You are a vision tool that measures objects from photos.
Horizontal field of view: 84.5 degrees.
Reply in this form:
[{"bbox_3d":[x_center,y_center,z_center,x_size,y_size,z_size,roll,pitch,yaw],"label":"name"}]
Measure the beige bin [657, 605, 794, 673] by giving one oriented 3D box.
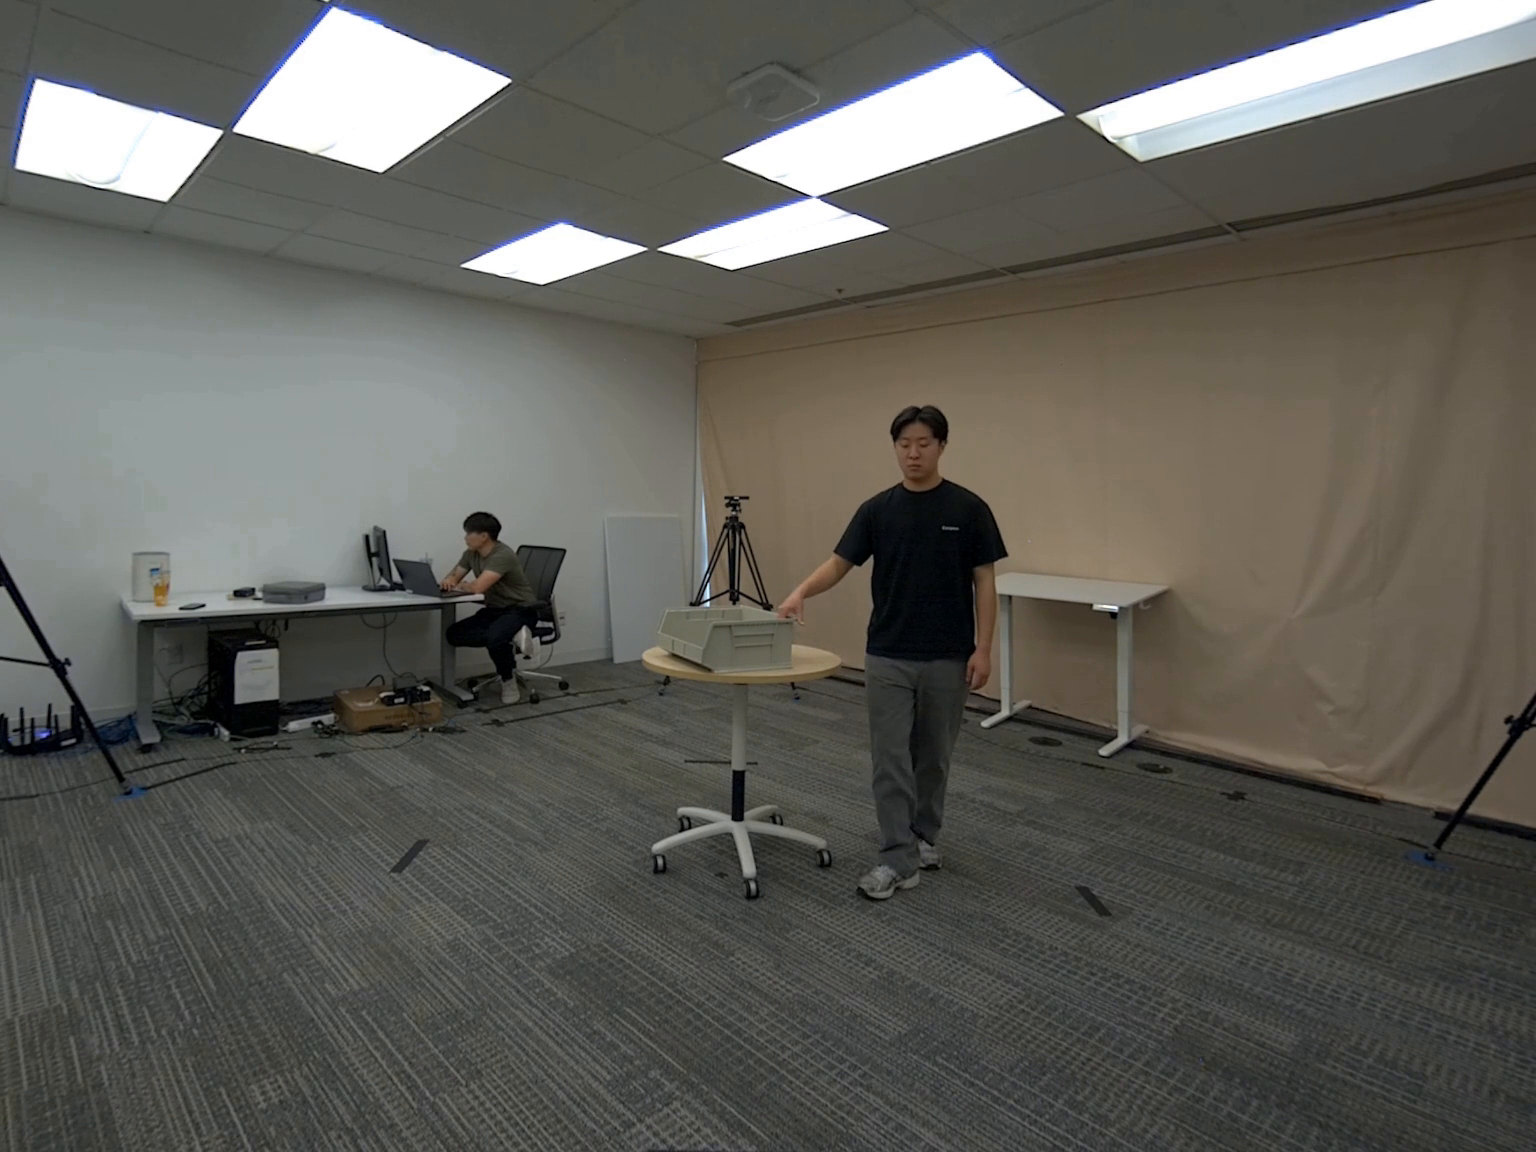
[{"bbox_3d":[-0.168,0.230,3.120,0.370,0.189,0.431,1,3,-29],"label":"beige bin"}]
